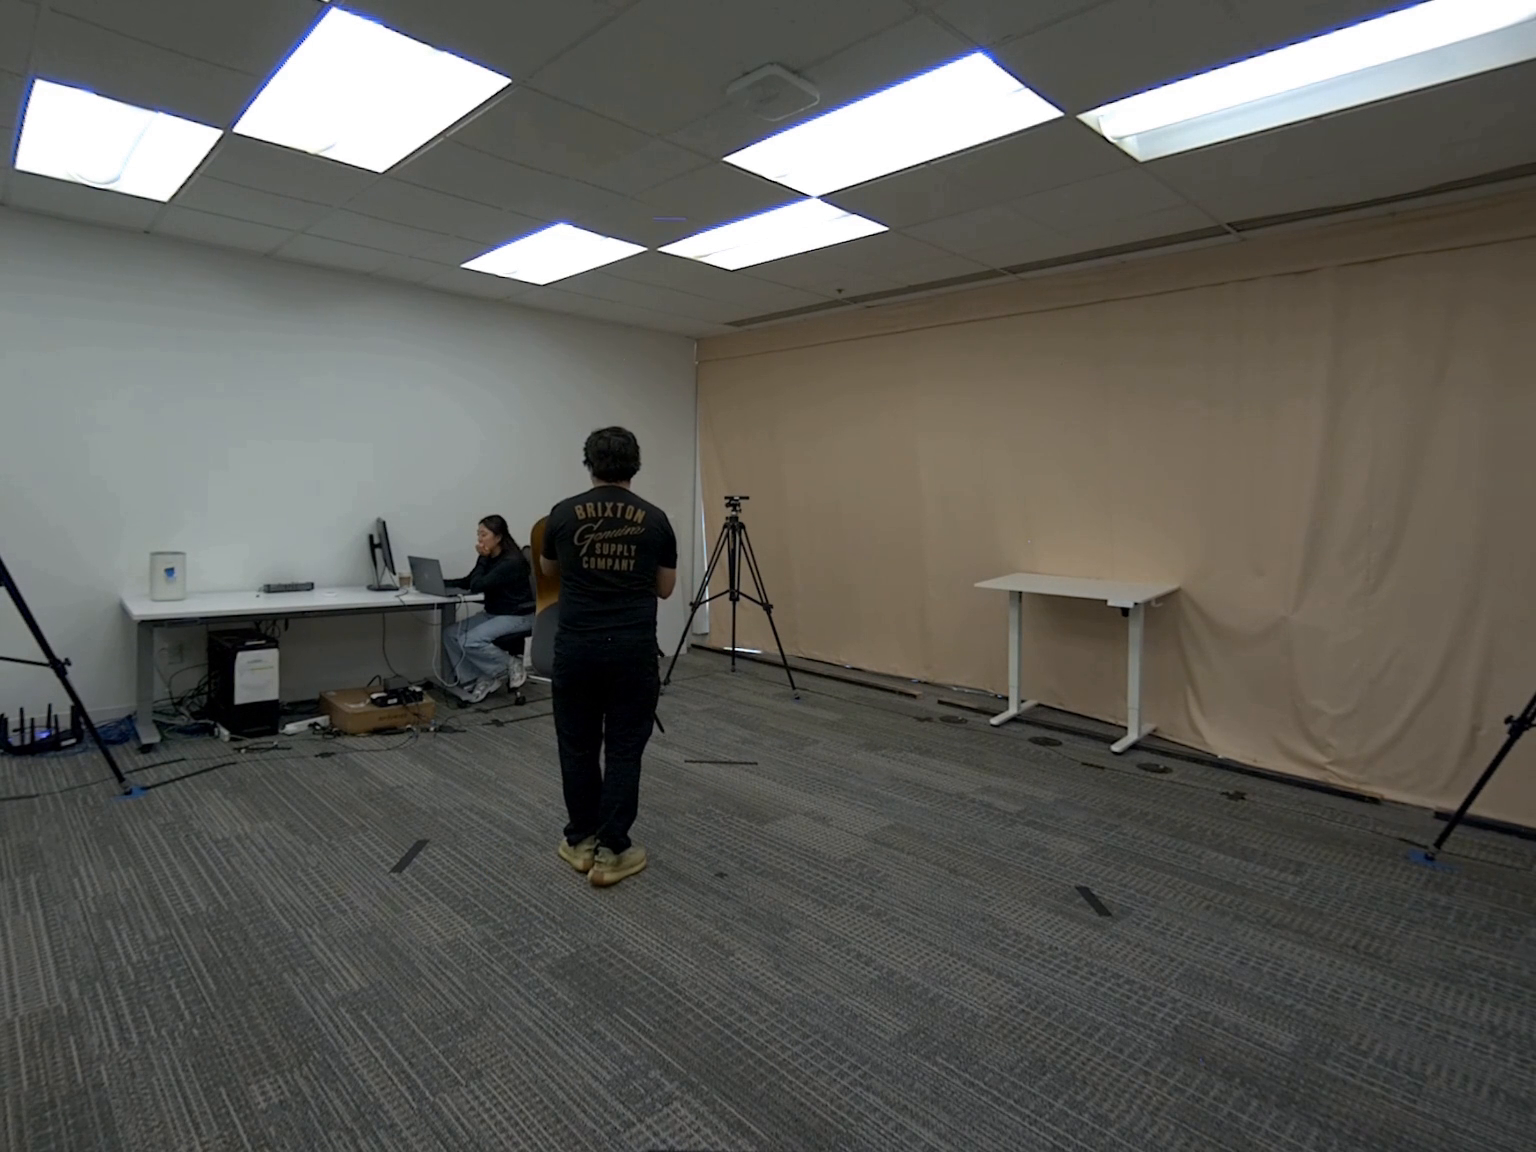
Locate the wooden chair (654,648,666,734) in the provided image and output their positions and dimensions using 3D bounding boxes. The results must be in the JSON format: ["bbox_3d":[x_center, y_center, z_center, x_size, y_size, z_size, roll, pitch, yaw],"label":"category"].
[{"bbox_3d":[-0.729,0.221,3.449,0.478,0.857,0.535,-6,35,0],"label":"wooden chair"}]
